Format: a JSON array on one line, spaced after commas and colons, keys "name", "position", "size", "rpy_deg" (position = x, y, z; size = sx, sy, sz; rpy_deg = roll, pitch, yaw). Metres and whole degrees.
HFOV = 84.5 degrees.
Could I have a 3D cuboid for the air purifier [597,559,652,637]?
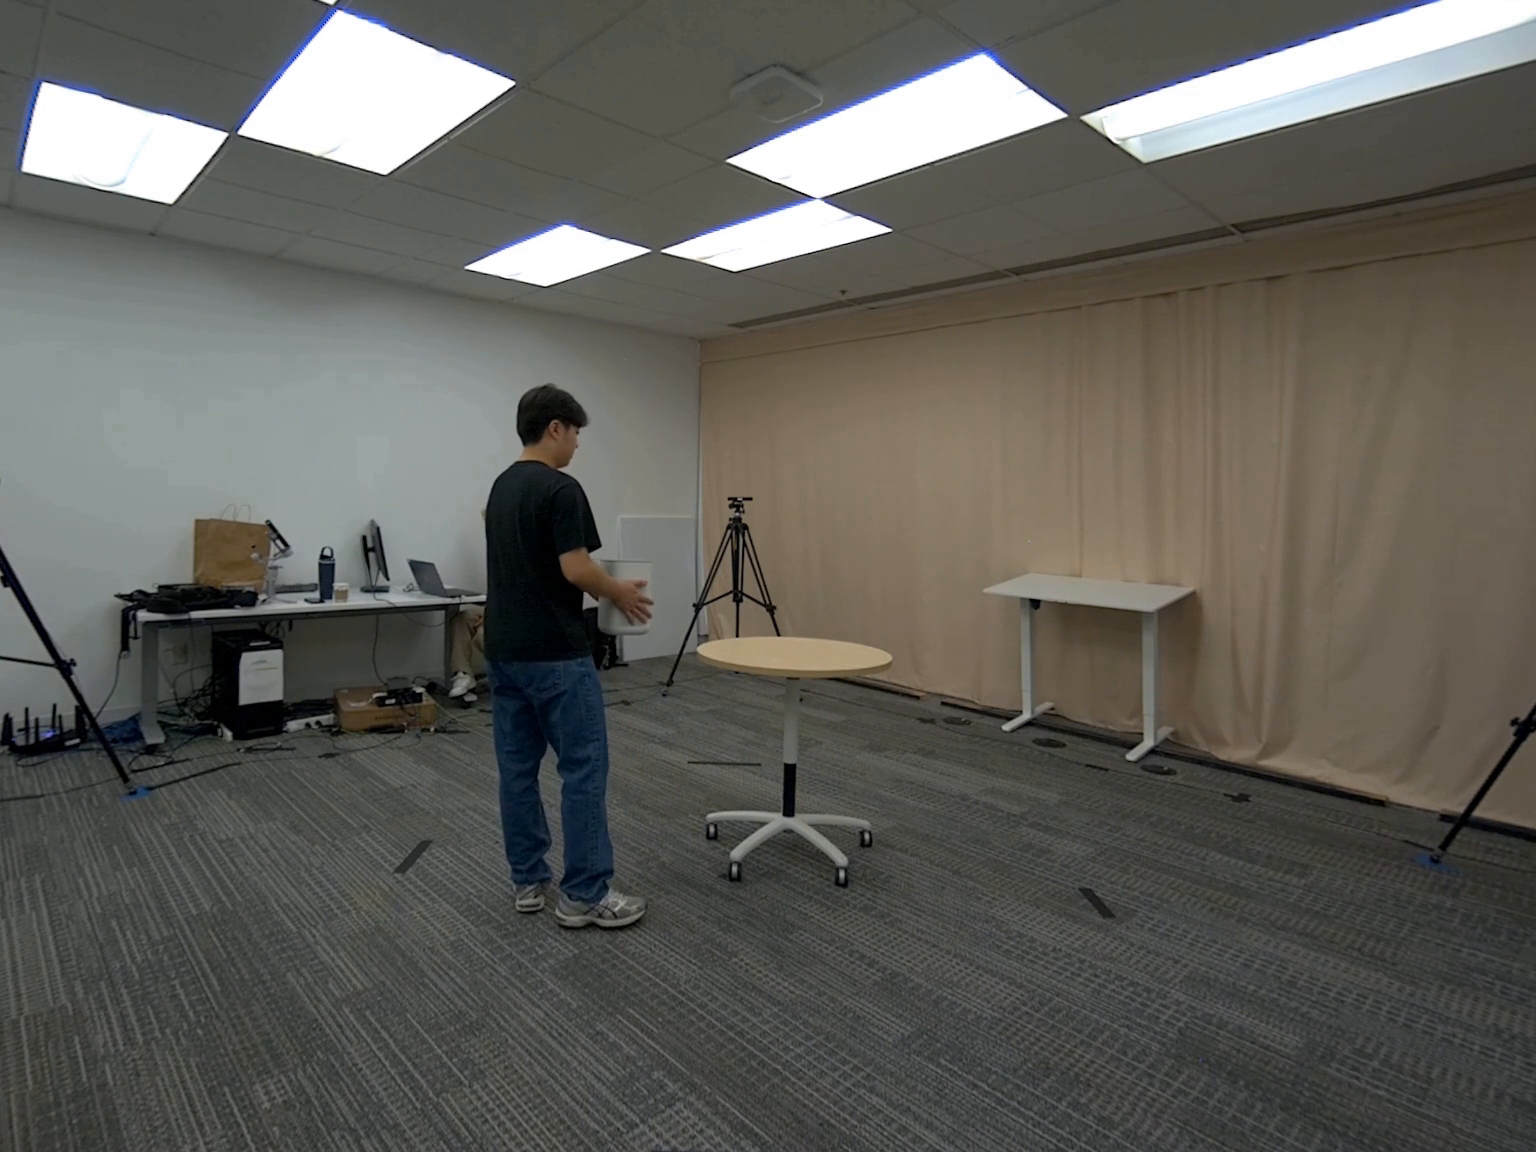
[{"name": "air purifier", "position": [-0.534, 0.075, 3.027], "size": [0.167, 0.265, 0.175], "rpy_deg": [1, 0, -39]}]
